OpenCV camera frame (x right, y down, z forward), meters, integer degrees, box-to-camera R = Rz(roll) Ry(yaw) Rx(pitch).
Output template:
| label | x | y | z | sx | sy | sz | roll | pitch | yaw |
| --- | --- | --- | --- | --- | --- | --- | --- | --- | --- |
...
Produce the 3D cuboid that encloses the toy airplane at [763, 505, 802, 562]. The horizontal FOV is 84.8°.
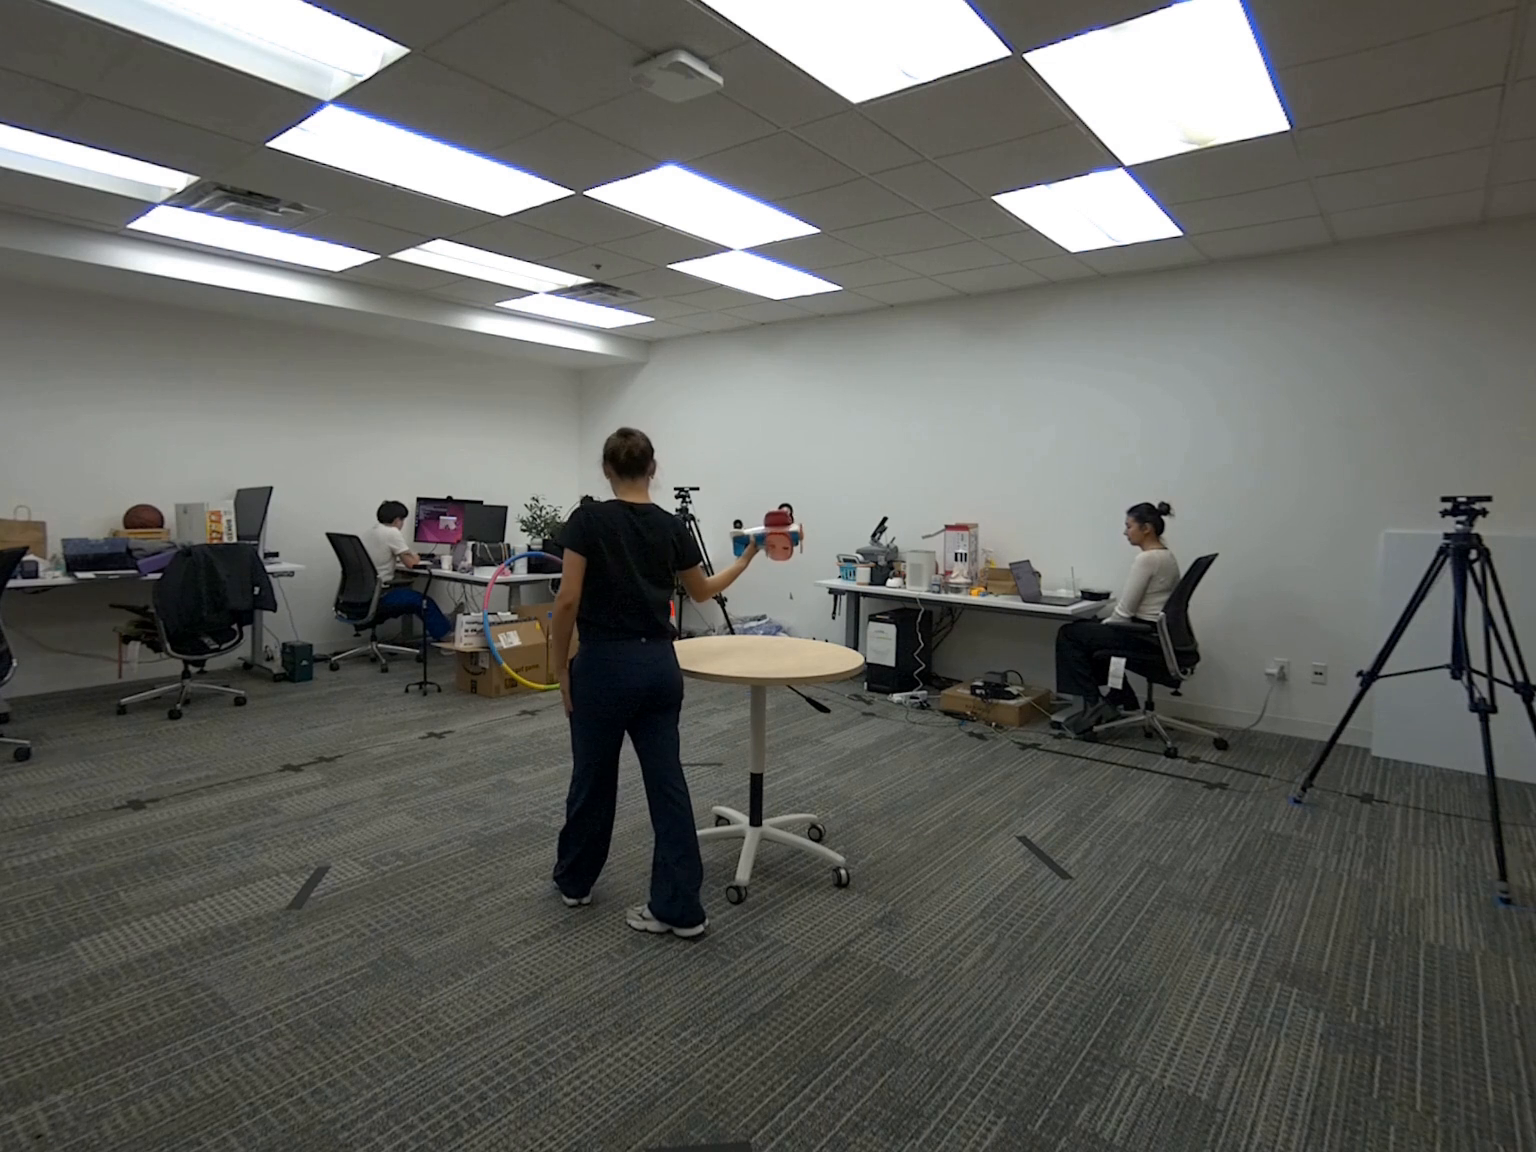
| label | x | y | z | sx | sy | sz | roll | pitch | yaw |
| --- | --- | --- | --- | --- | --- | --- | --- | --- | --- |
| toy airplane | -0.009 | -0.149 | 3.081 | 0.262 | 0.161 | 0.241 | -26 | -25 | 25 |
